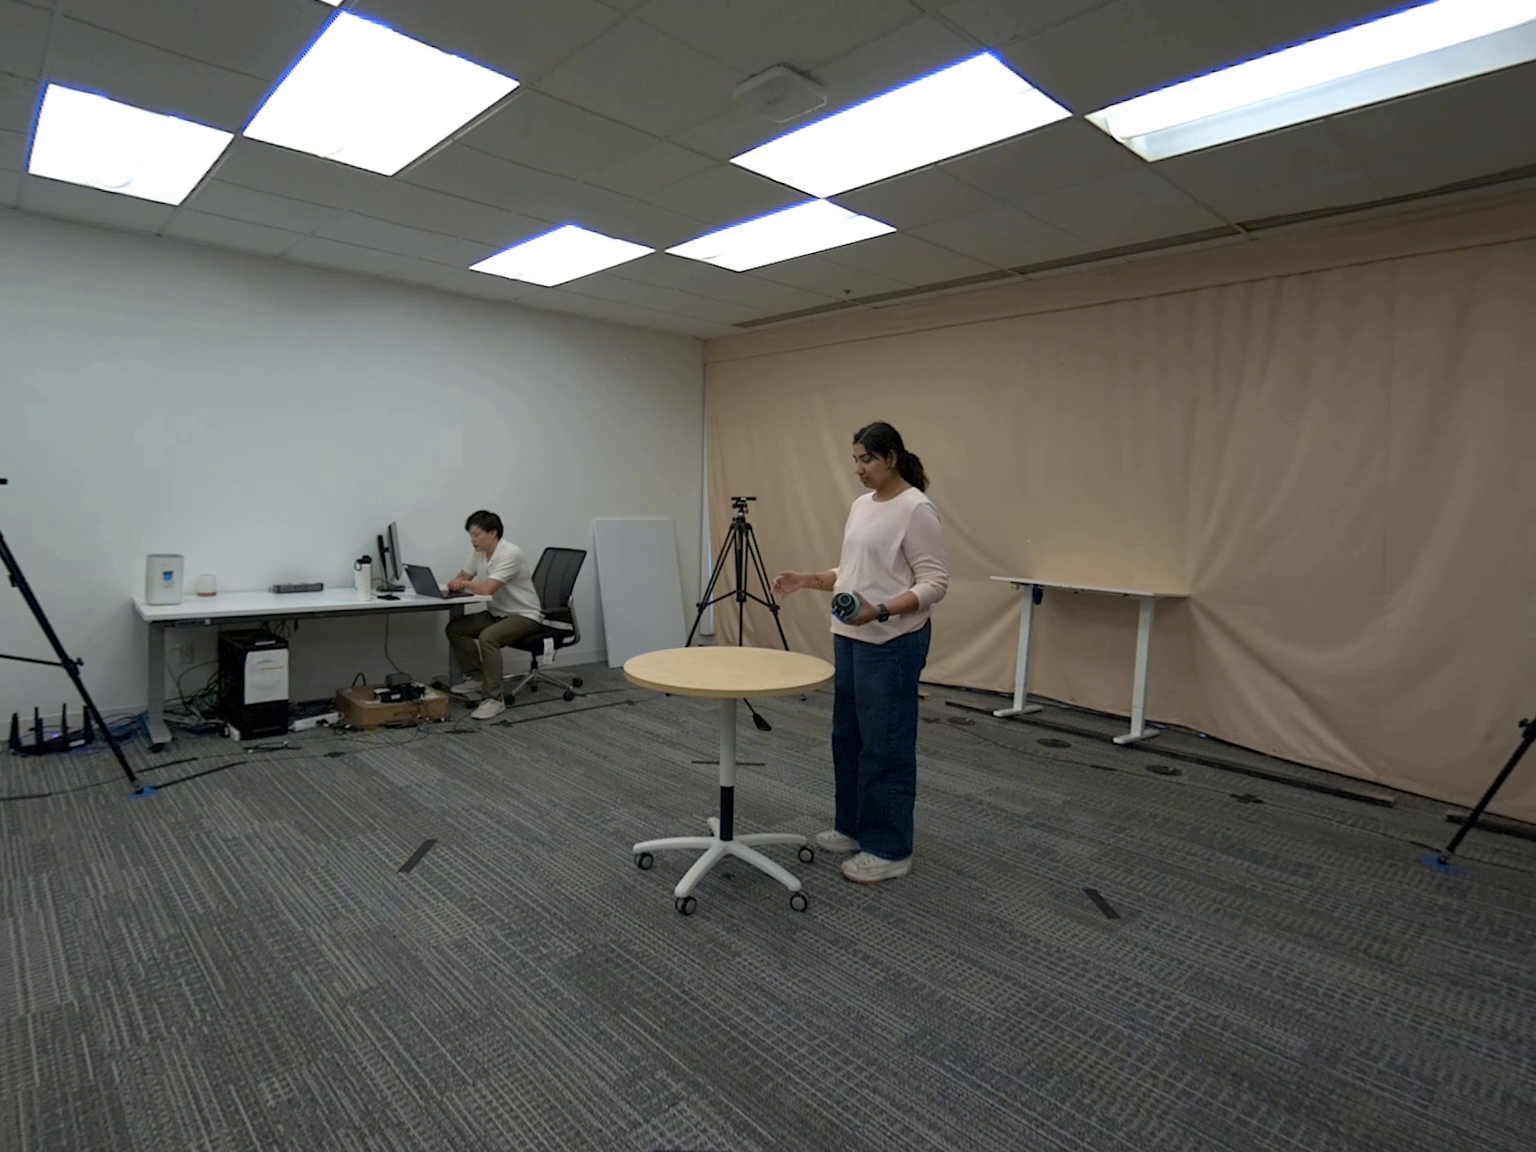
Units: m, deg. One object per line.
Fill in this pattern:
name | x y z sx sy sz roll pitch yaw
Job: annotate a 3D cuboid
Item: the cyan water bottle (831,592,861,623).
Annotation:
cyan water bottle | 0.264 0.105 2.878 0.094 0.092 0.278 3 -5 19
